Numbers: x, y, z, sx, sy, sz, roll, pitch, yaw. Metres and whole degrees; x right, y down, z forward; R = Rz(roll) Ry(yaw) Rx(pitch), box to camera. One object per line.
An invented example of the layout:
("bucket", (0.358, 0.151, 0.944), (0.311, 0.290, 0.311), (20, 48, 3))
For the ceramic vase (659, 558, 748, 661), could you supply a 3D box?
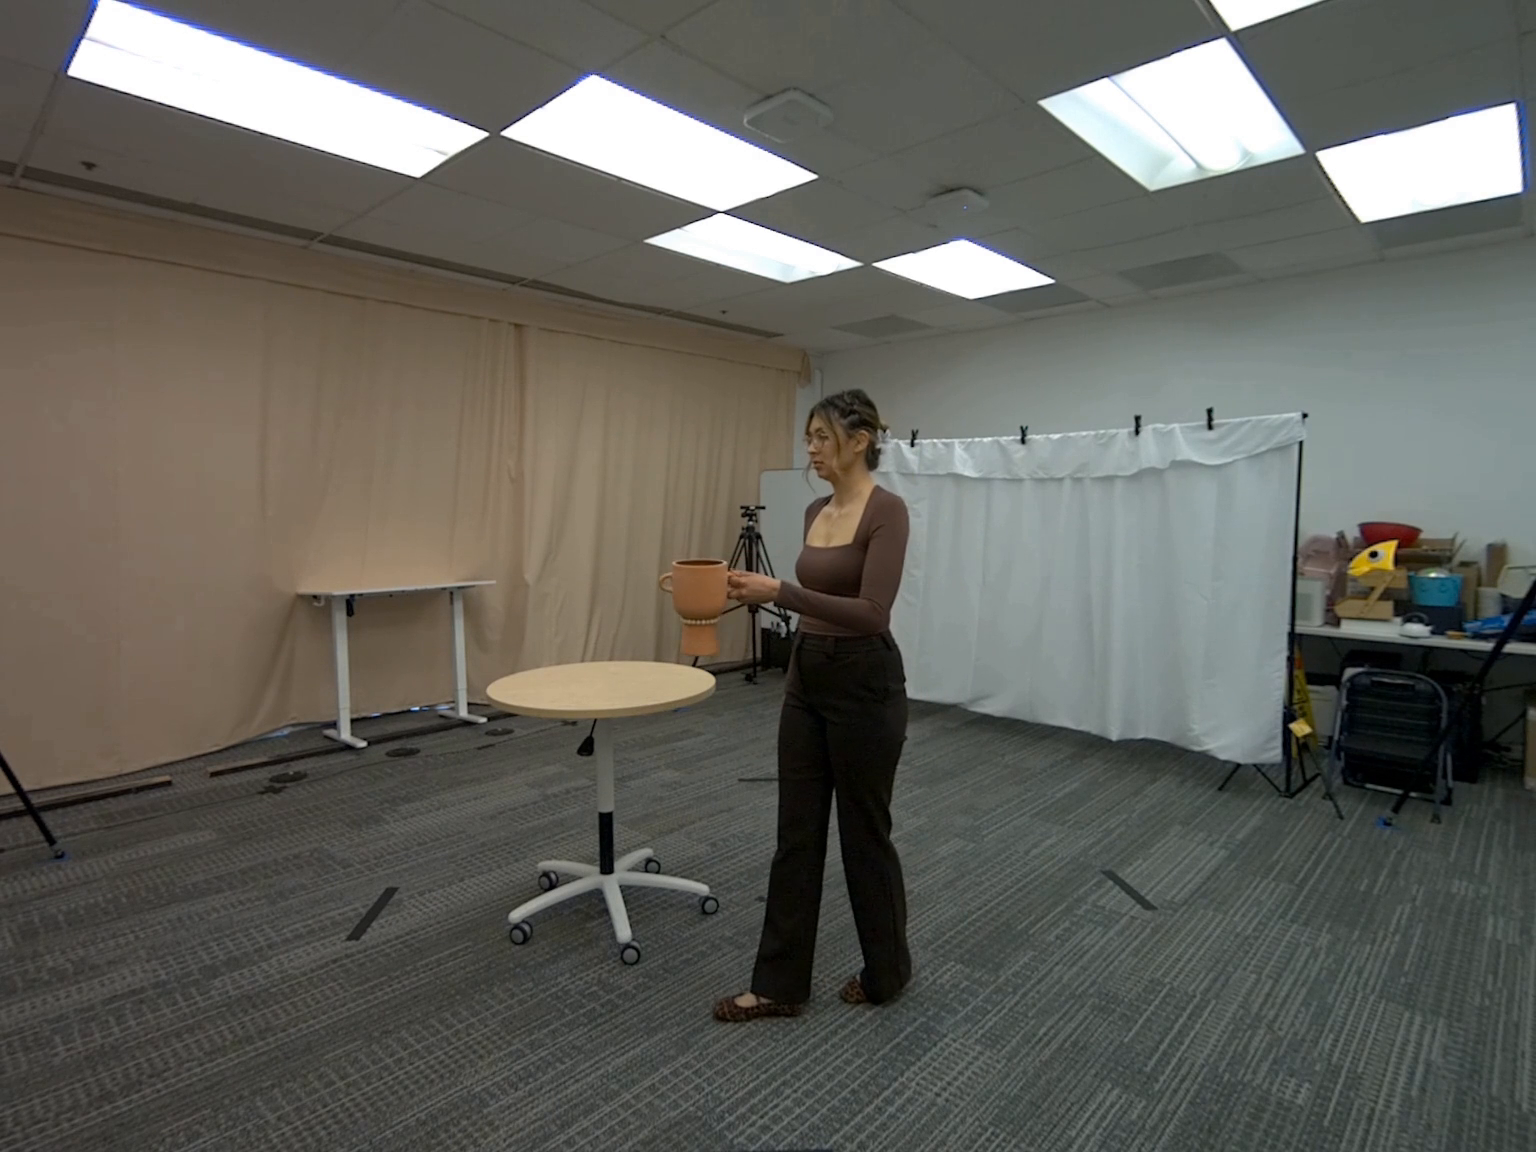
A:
("ceramic vase", (-0.154, 0.073, 2.026), (0.164, 0.219, 0.131), (2, 5, 33))
